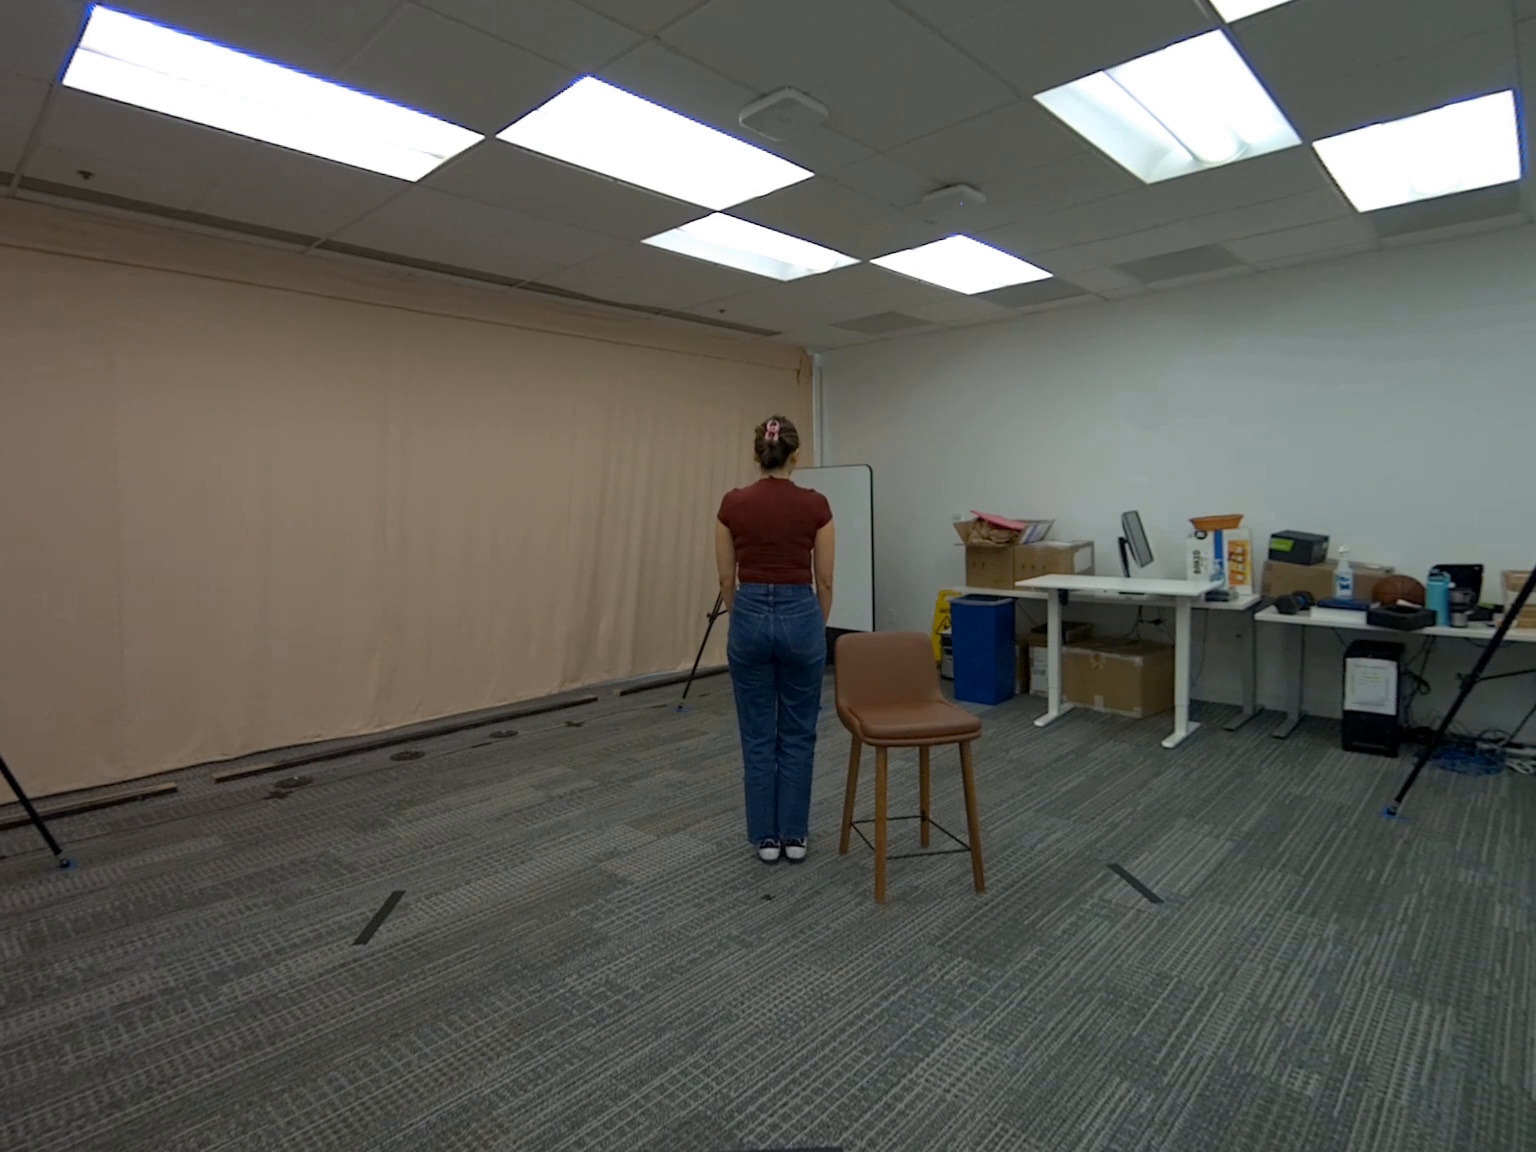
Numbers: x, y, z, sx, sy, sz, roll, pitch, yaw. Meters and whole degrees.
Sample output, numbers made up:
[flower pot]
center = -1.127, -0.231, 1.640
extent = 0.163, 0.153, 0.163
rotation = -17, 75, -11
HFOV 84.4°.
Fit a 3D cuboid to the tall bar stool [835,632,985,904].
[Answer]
[tall bar stool]
center = 0.523, 0.683, 3.155
extent = 0.450, 0.889, 0.474
rotation = -1, 1, -13
